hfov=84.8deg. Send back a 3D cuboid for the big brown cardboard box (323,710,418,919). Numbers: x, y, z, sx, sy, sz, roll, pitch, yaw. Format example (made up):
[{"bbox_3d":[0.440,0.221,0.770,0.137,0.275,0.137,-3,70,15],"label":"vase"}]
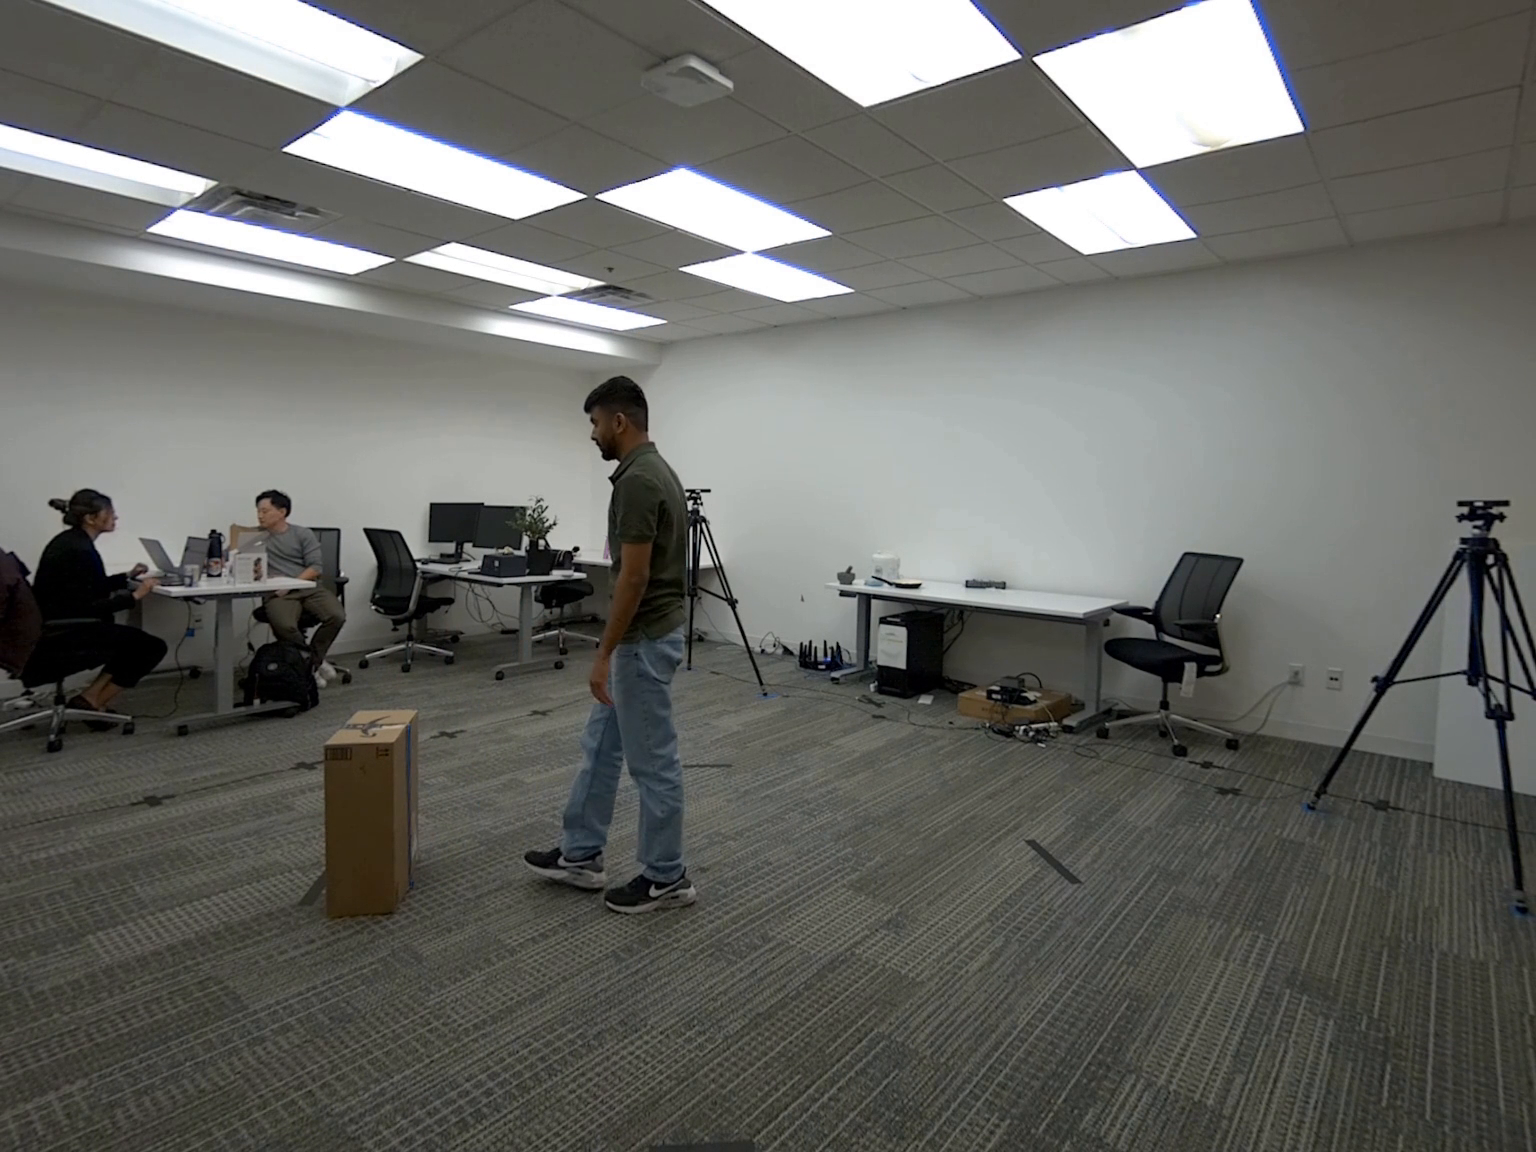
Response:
[{"bbox_3d":[-1.363,0.796,2.923,0.230,0.587,0.424,0,4,-11],"label":"big brown cardboard box"}]
